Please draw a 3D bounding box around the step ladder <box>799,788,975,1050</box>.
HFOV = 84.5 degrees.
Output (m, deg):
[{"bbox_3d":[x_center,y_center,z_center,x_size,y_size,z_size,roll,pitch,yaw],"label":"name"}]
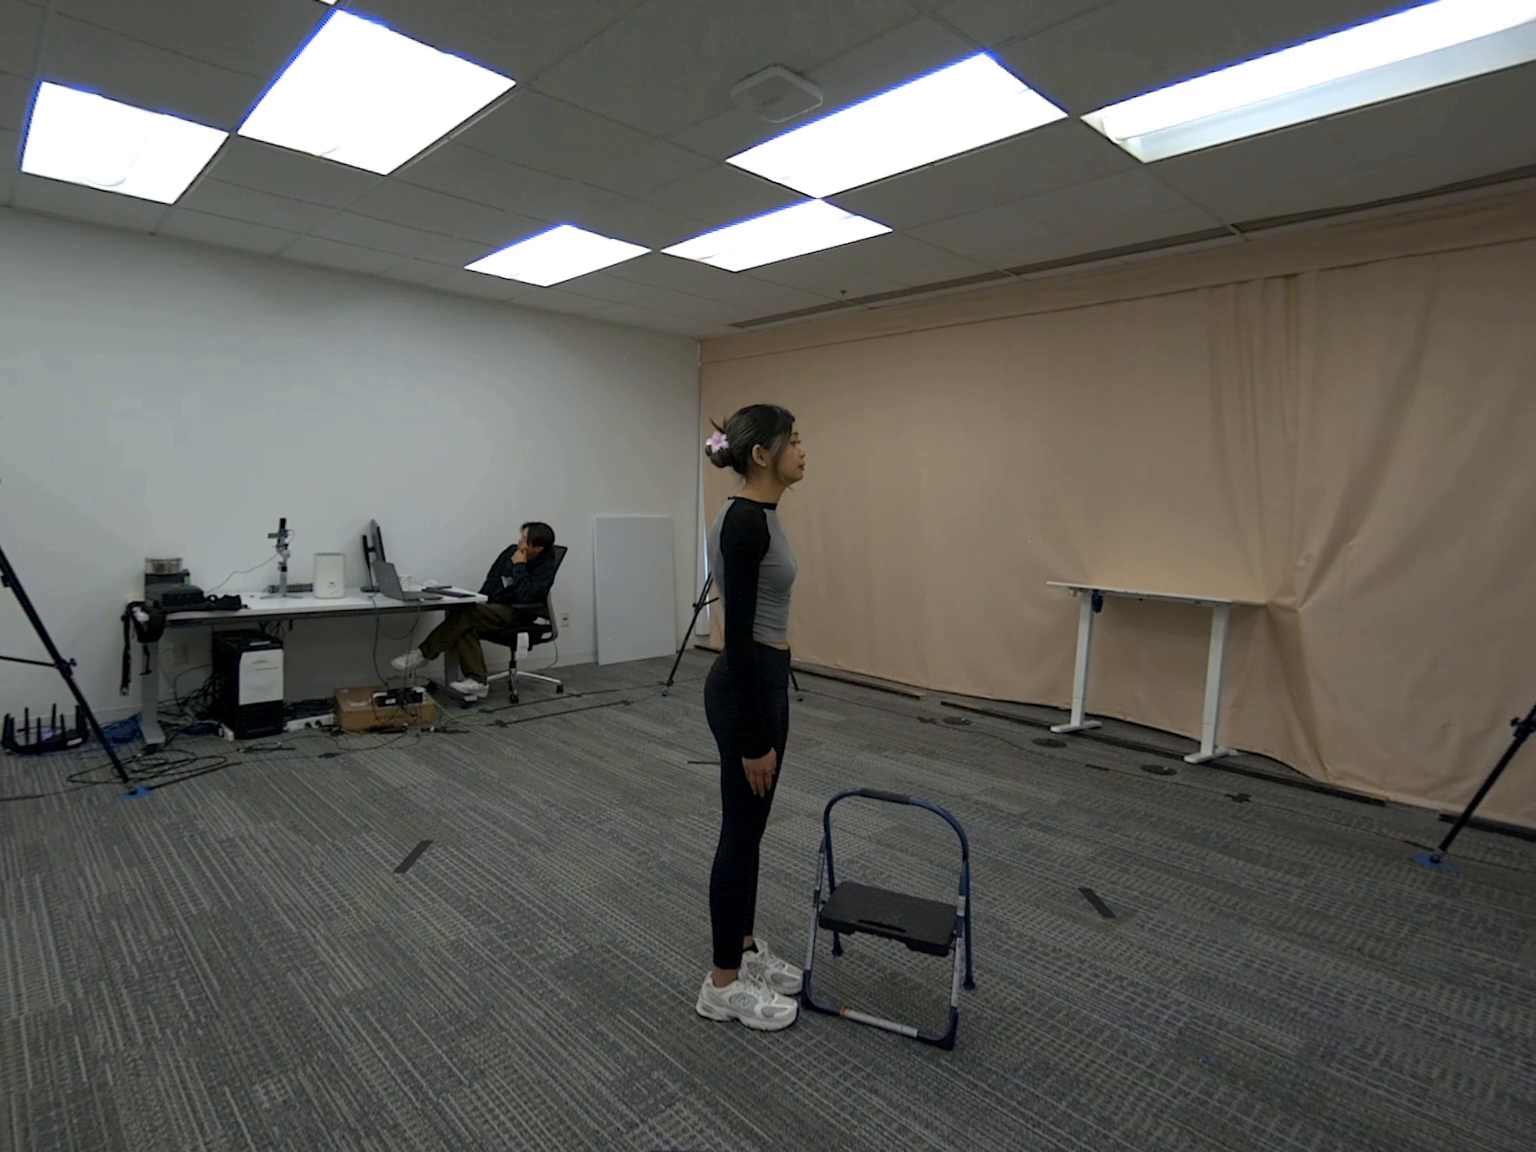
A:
[{"bbox_3d":[0.346,0.890,2.360,0.438,0.604,0.344,2,4,23],"label":"step ladder"}]
